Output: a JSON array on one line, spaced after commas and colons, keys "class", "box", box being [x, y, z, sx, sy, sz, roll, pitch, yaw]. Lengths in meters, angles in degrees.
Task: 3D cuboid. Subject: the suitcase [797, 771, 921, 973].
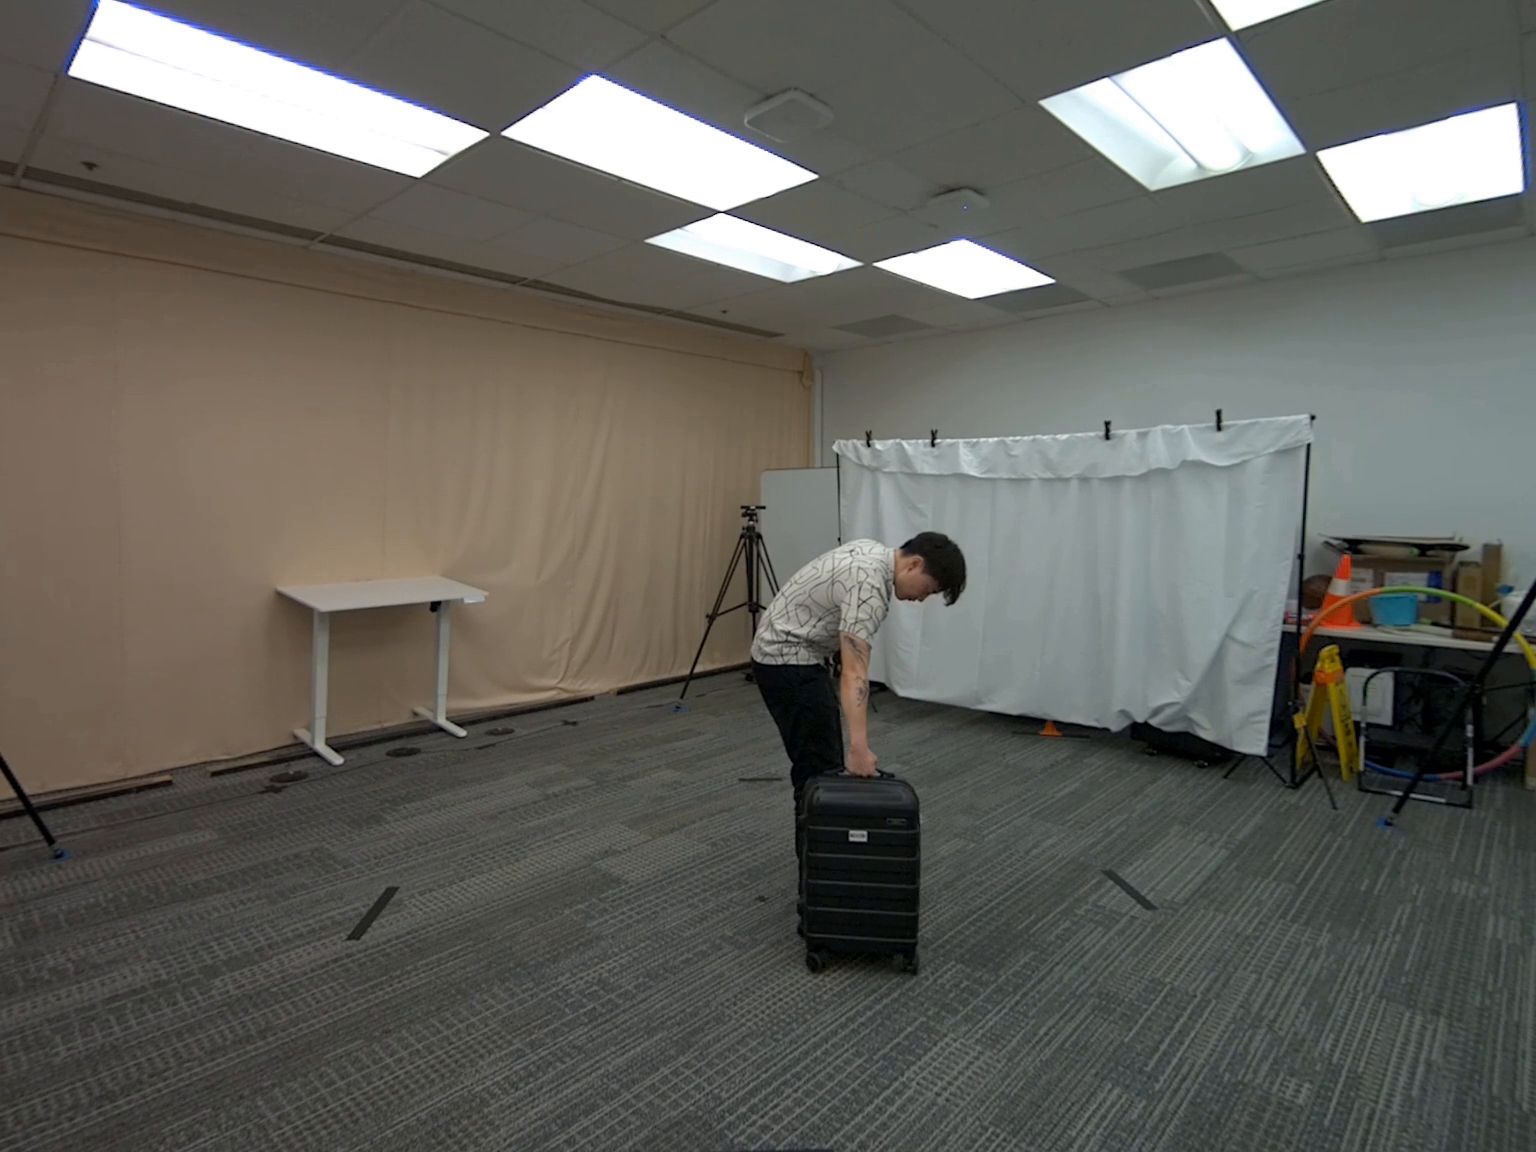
[{"class": "suitcase", "box": [0.292, 0.893, 2.611, 0.378, 0.549, 0.247, 2, 1, 6]}]
